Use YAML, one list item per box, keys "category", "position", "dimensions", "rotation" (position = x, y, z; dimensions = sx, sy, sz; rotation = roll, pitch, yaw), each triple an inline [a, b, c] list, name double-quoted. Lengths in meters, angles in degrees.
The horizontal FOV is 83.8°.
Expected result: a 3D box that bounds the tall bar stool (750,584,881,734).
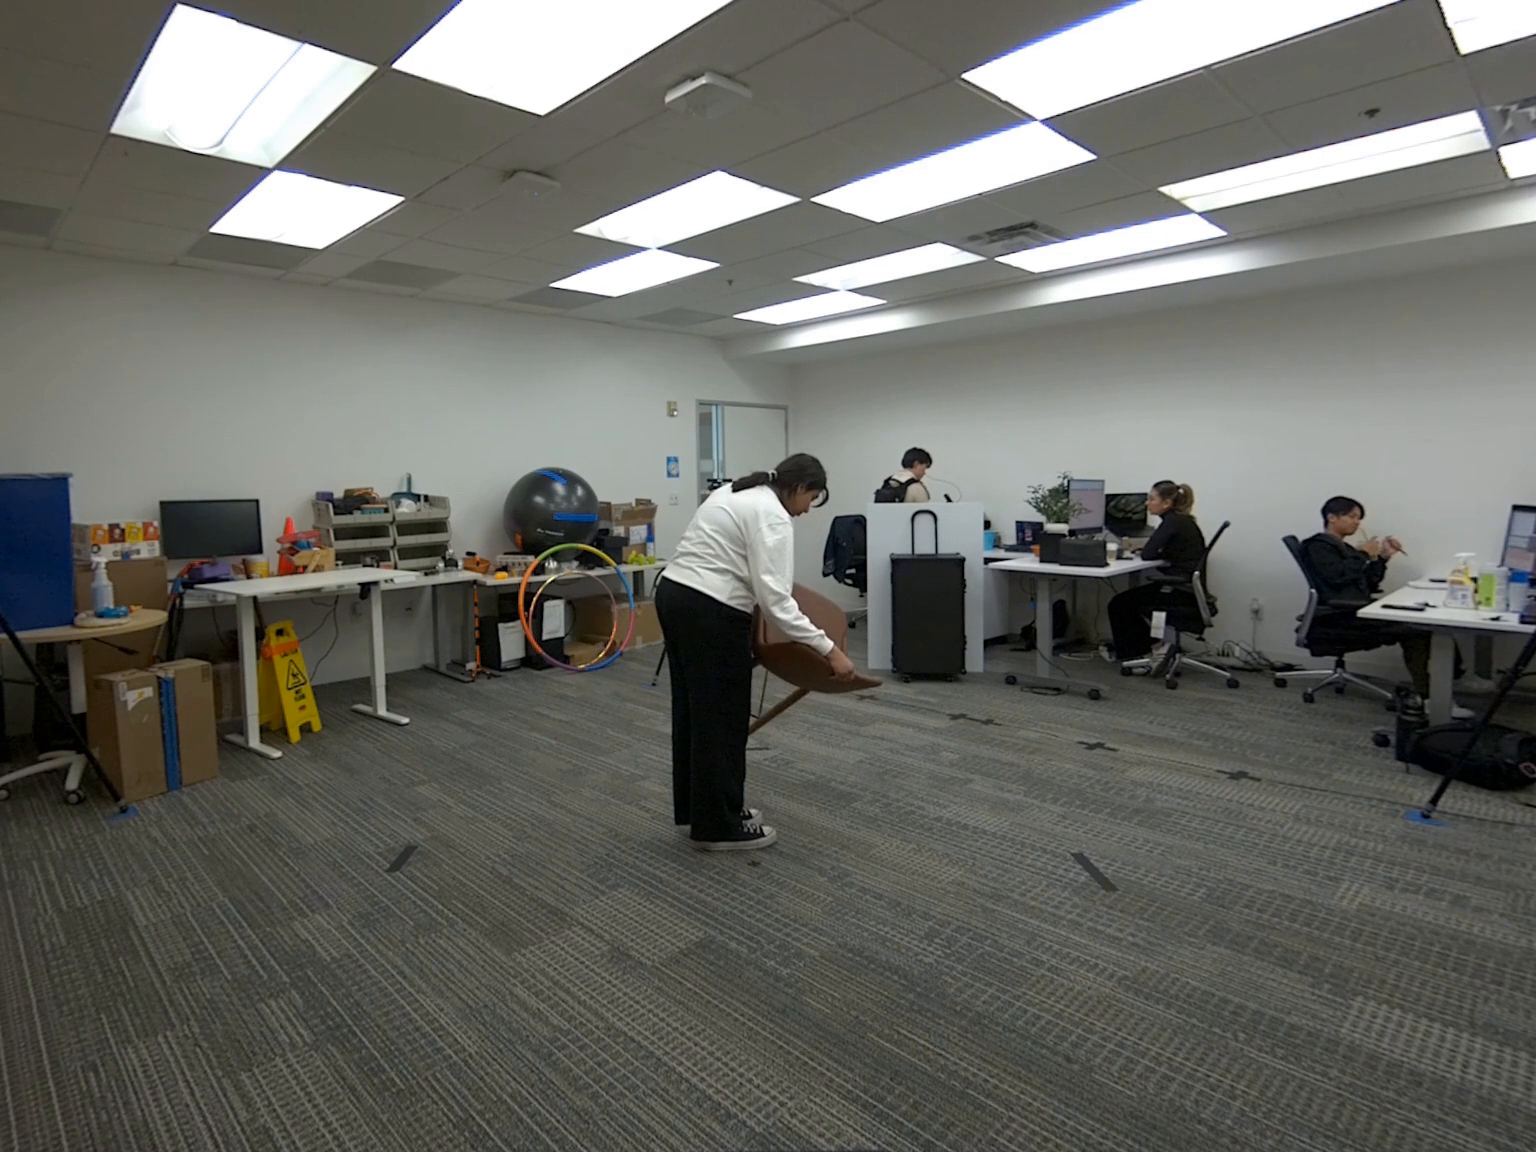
- category: "tall bar stool"
  position: [0.045, 0.305, 3.500]
  dimensions: [0.444, 0.476, 0.898]
  rotation: [30, -37, -24]
